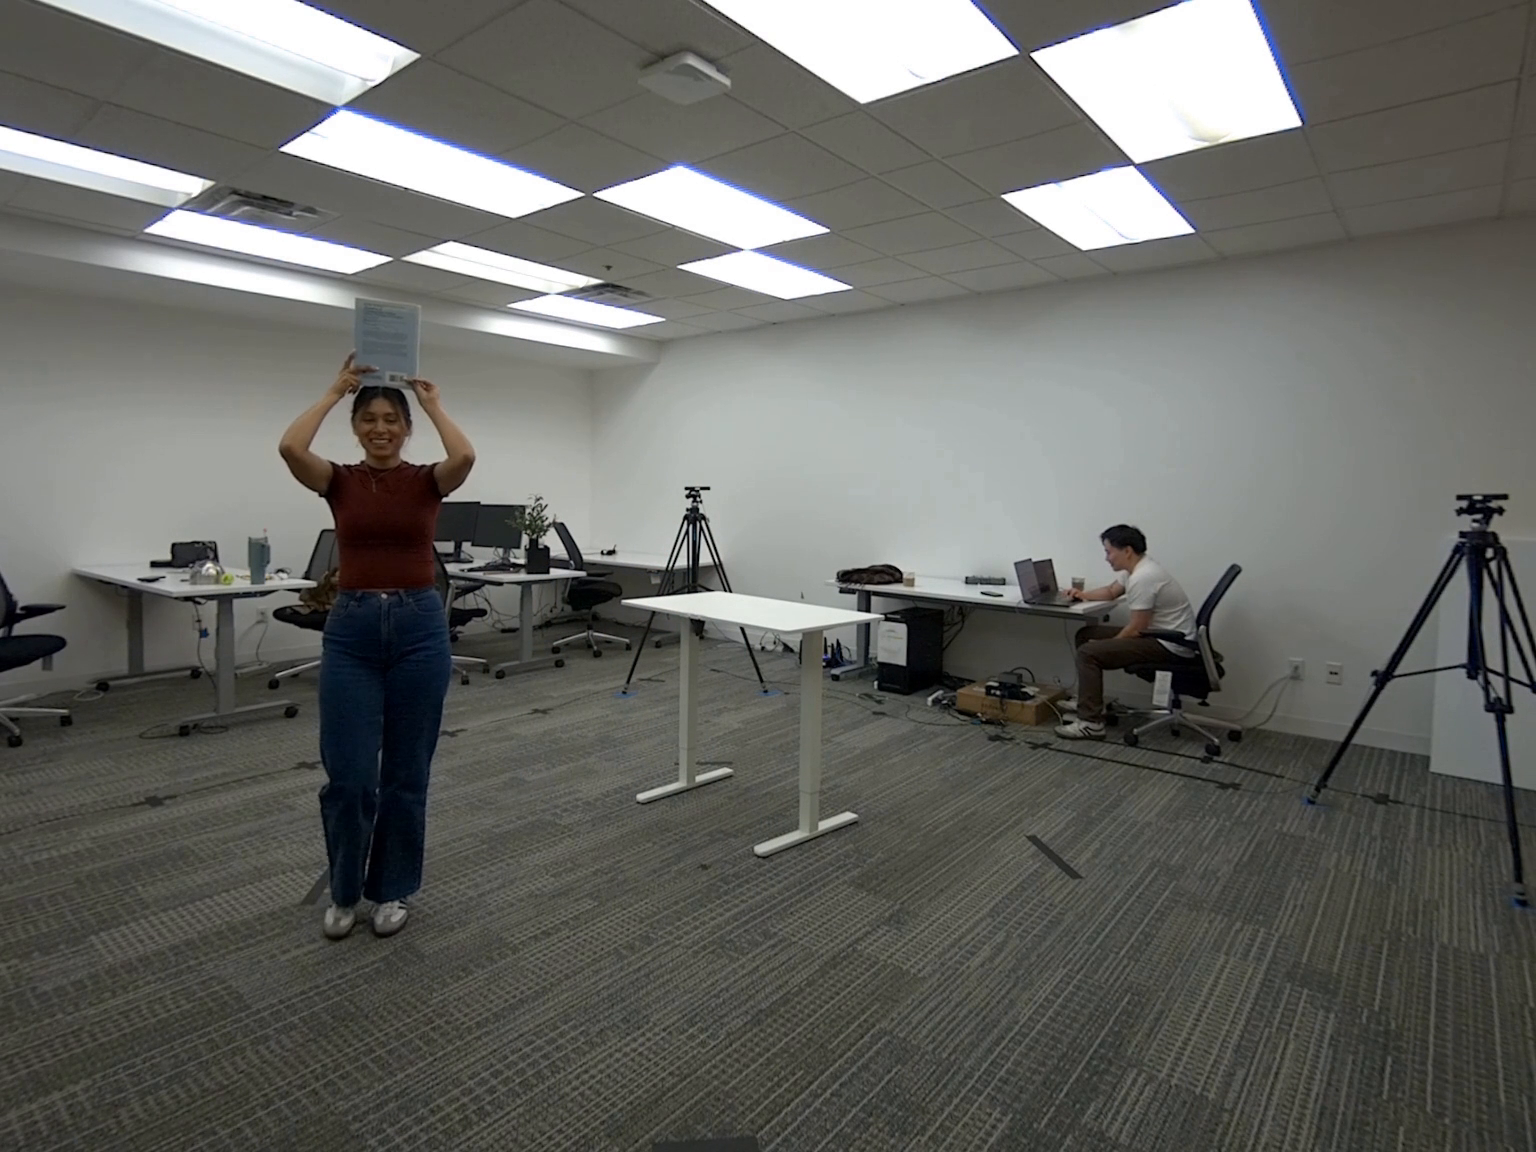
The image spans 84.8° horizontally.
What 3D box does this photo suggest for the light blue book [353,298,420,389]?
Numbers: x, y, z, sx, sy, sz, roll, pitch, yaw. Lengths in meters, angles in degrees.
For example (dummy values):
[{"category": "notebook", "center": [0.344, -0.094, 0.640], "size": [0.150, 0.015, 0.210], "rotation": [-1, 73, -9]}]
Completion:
[{"category": "light blue book", "center": [-1.199, -0.720, 2.629], "size": [0.187, 0.258, 0.061], "rotation": [2, 13, -24]}]
